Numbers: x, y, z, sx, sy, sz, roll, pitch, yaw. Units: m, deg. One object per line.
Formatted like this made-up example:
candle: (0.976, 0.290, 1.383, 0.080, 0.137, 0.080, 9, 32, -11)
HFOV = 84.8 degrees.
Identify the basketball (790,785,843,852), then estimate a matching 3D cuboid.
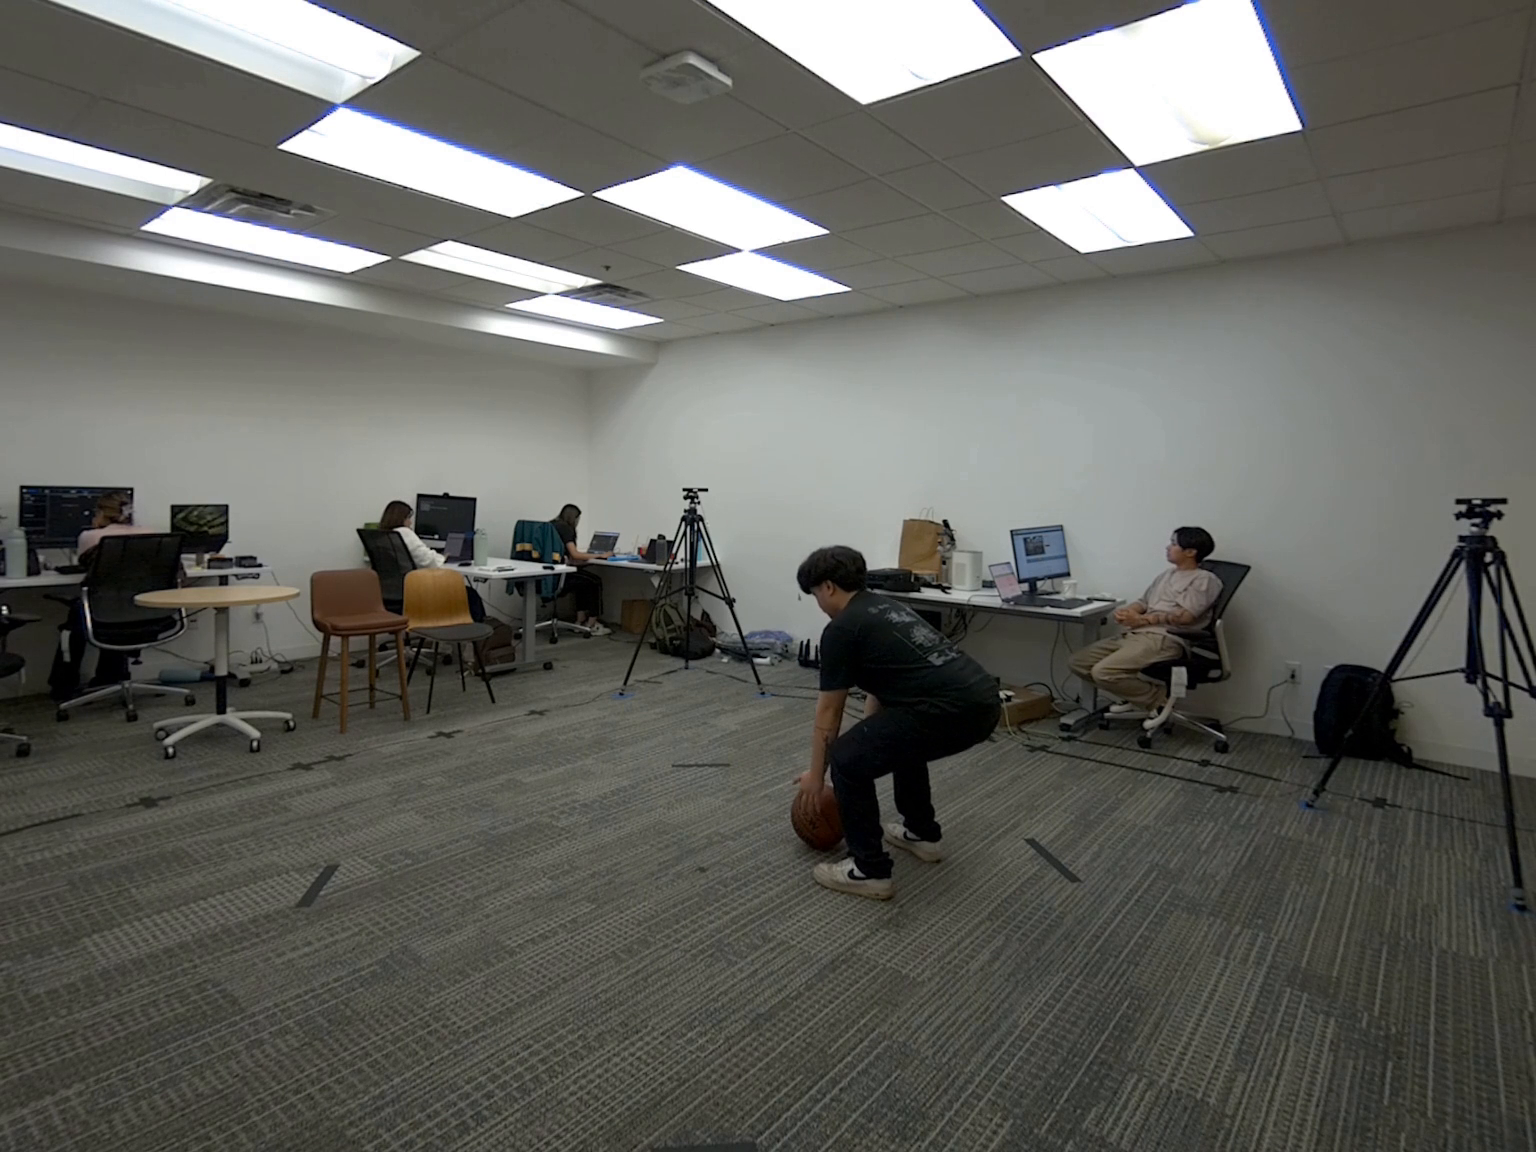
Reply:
basketball: (0.200, 0.932, 3.337, 0.235, 0.235, 0.237, 1, 4, -2)
